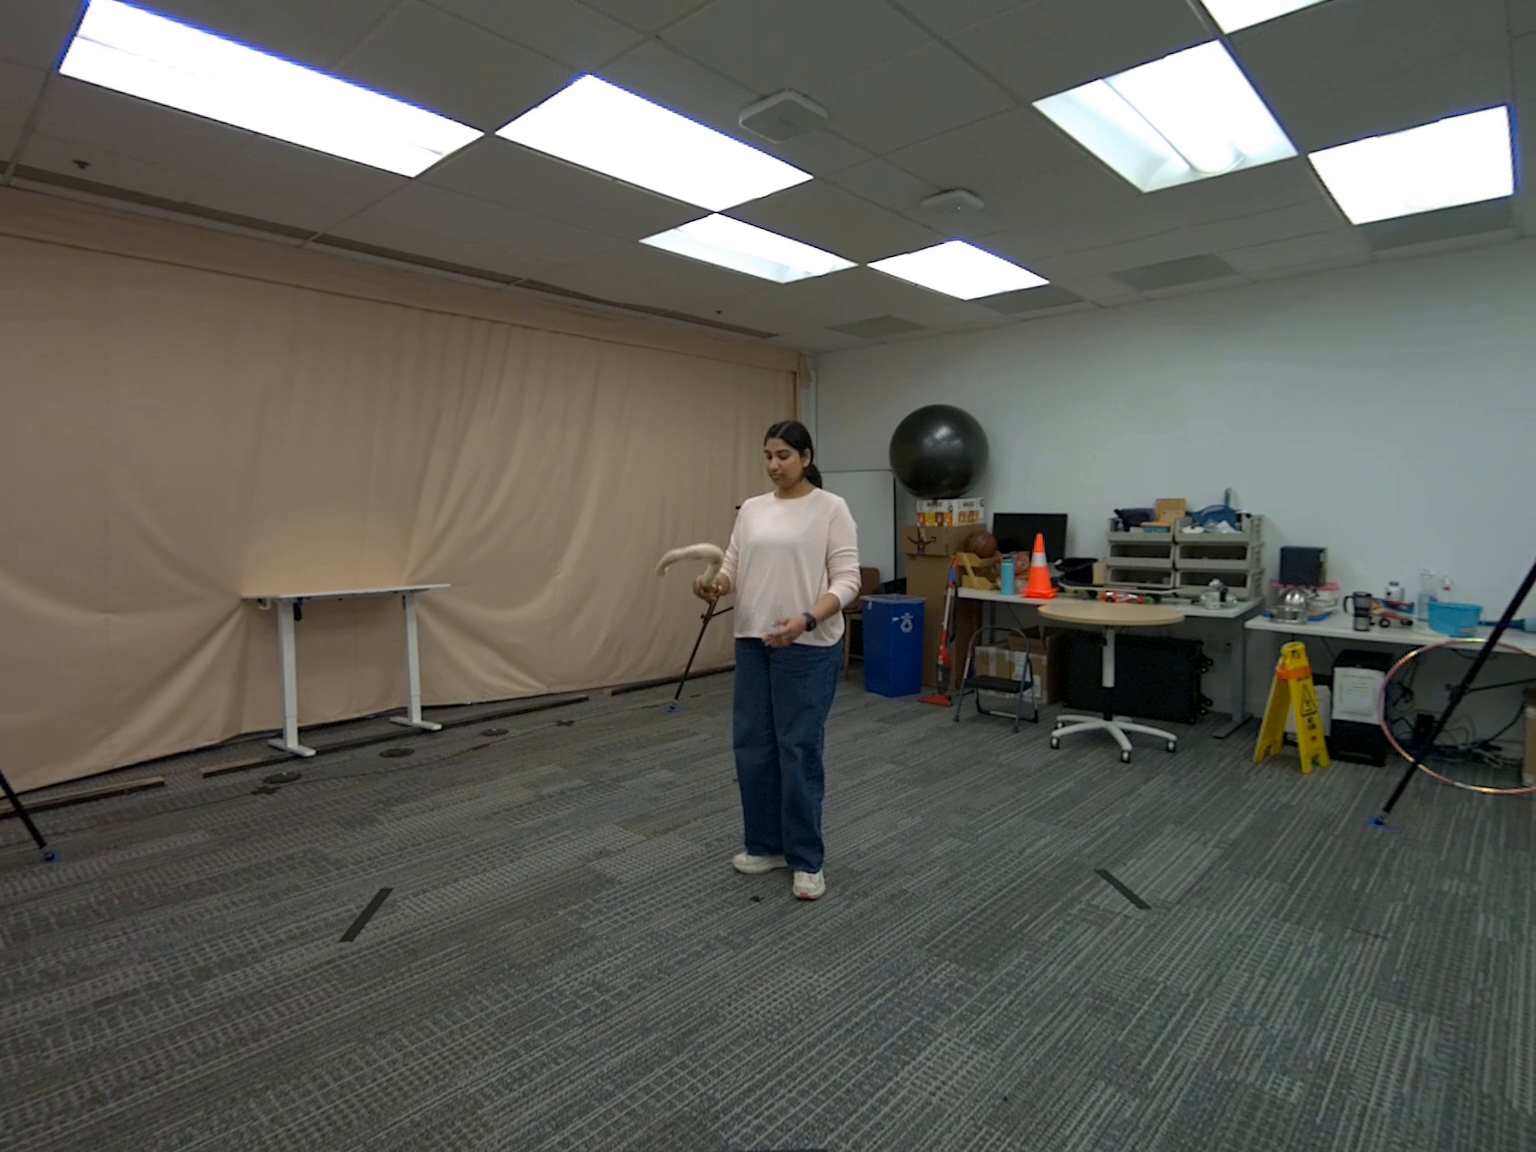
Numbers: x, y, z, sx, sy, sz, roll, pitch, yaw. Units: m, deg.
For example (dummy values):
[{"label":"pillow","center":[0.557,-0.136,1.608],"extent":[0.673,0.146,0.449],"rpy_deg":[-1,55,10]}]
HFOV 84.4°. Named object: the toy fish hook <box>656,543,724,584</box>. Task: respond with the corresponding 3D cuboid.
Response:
[{"label":"toy fish hook","center":[-0.245,0.004,2.808],"extent":[0.225,0.049,0.498],"rpy_deg":[-8,-23,-1]}]
